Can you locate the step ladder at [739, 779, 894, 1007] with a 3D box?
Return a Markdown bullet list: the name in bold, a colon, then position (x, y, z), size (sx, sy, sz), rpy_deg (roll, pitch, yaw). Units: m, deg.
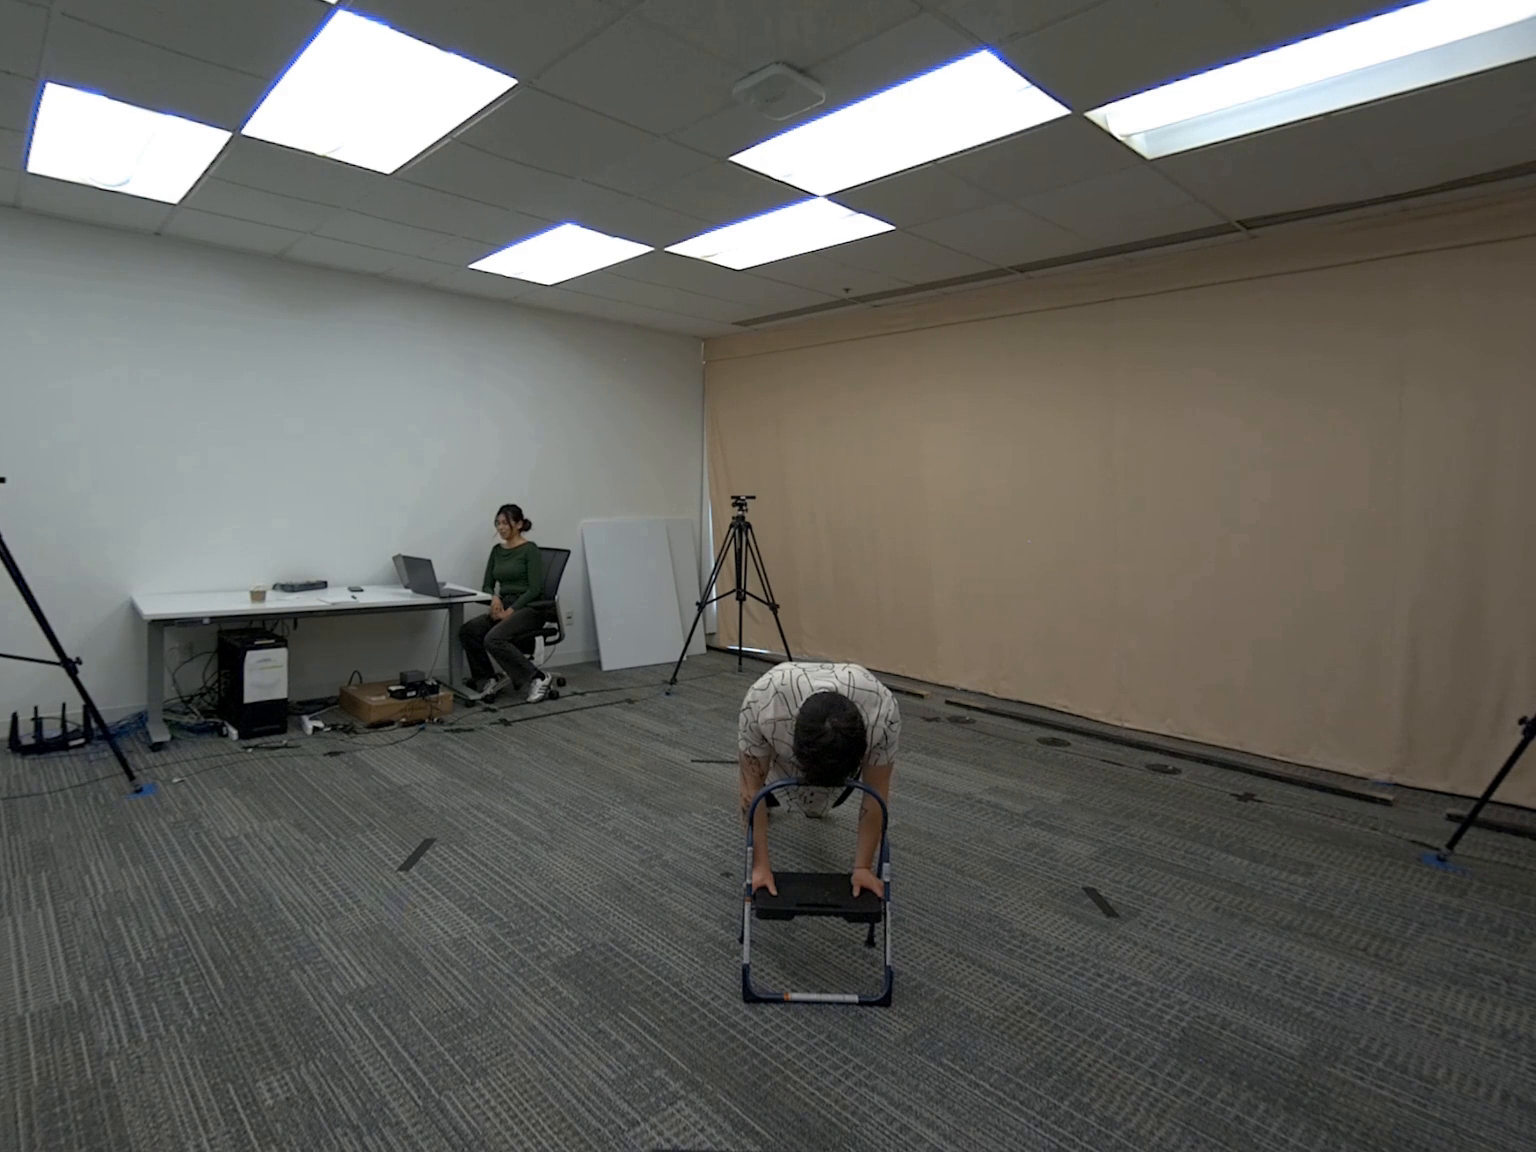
- **step ladder**: position (0.130, 0.870, 2.465), size (0.430, 0.605, 0.350), rpy_deg (1, 3, -2)
